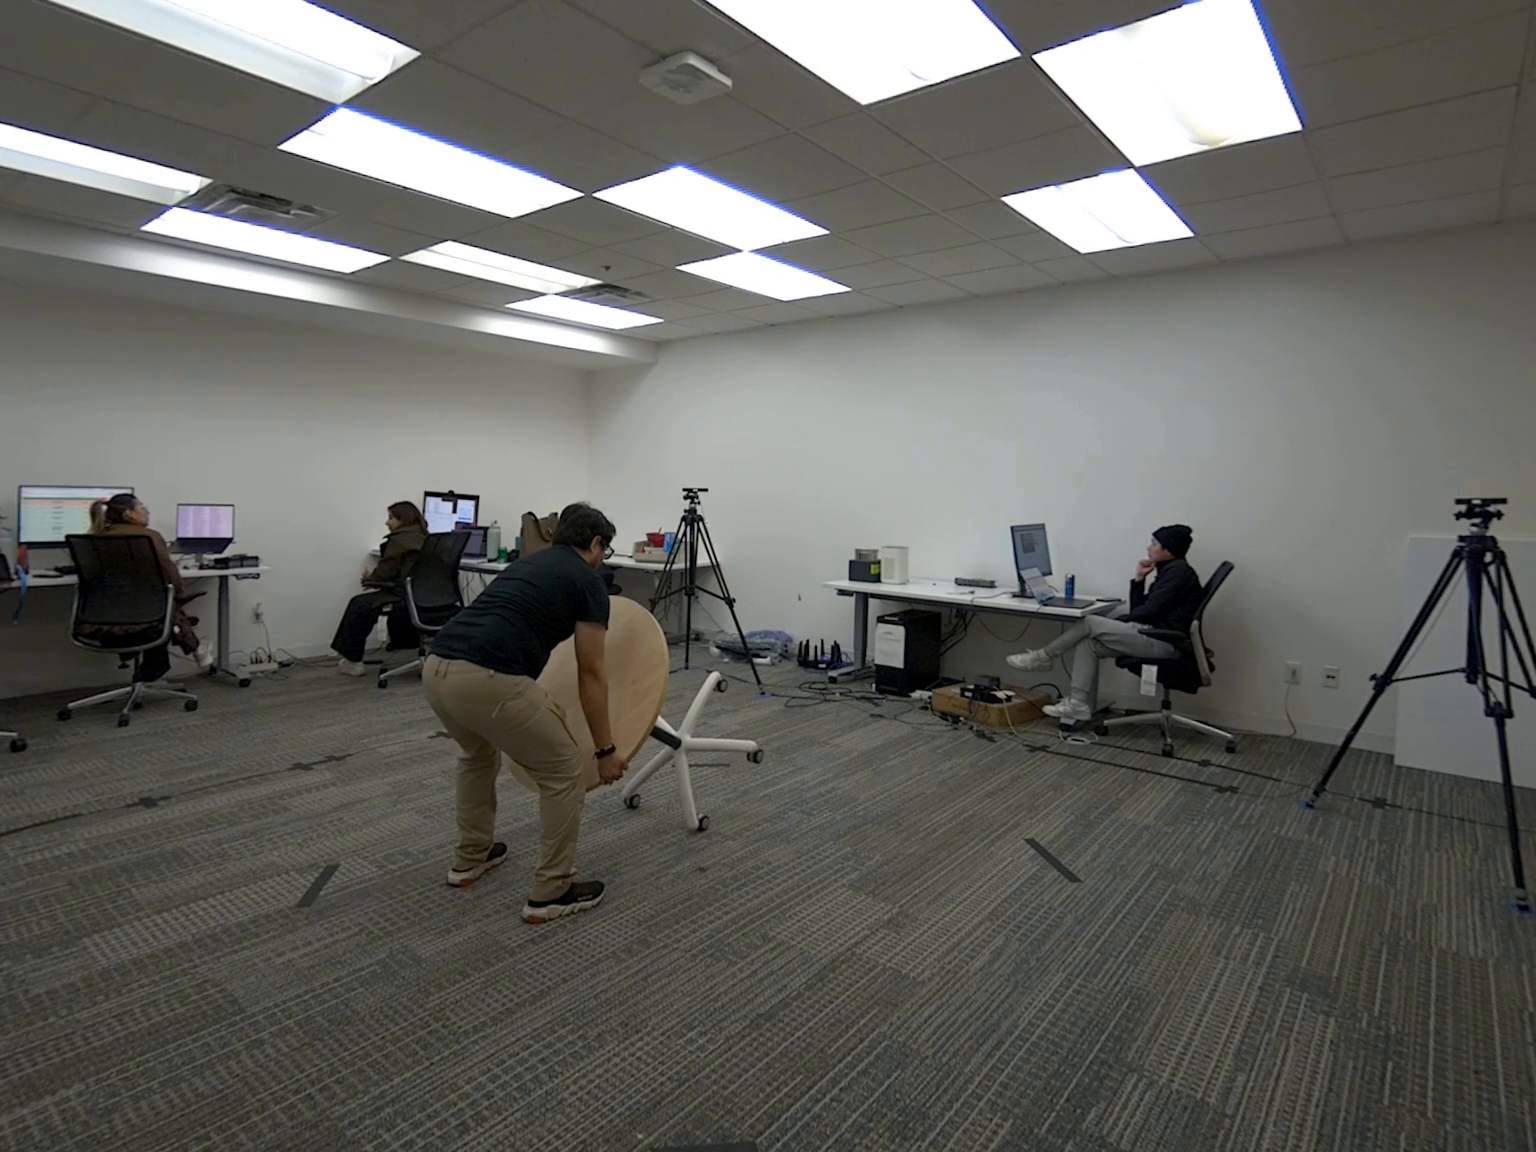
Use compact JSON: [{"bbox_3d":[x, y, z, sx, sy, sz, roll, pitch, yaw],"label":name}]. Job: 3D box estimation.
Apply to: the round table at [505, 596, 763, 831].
[{"bbox_3d":[-0.516,0.597,3.405,0.810,0.793,0.753,4,-25,36],"label":"round table"}]
